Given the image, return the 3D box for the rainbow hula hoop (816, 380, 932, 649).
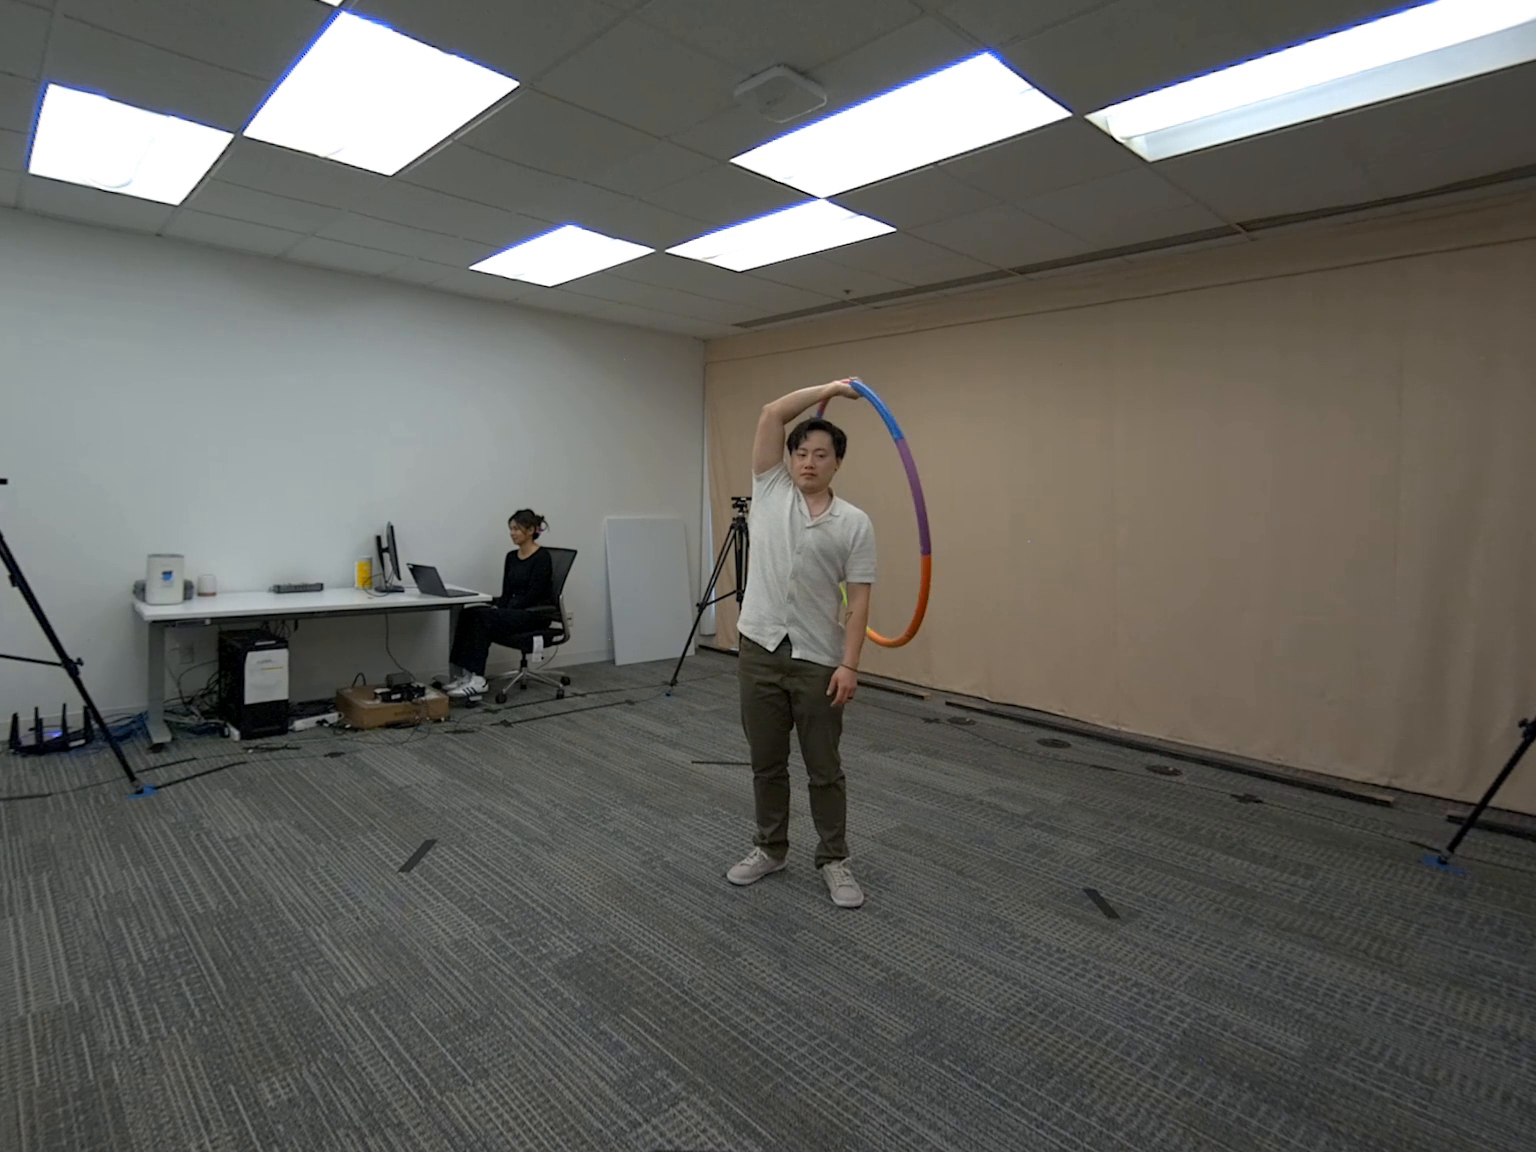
[{"bbox_3d":[0.341,-0.219,3.091,0.035,0.973,0.993,-11,7,-16],"label":"rainbow hula hoop"}]
